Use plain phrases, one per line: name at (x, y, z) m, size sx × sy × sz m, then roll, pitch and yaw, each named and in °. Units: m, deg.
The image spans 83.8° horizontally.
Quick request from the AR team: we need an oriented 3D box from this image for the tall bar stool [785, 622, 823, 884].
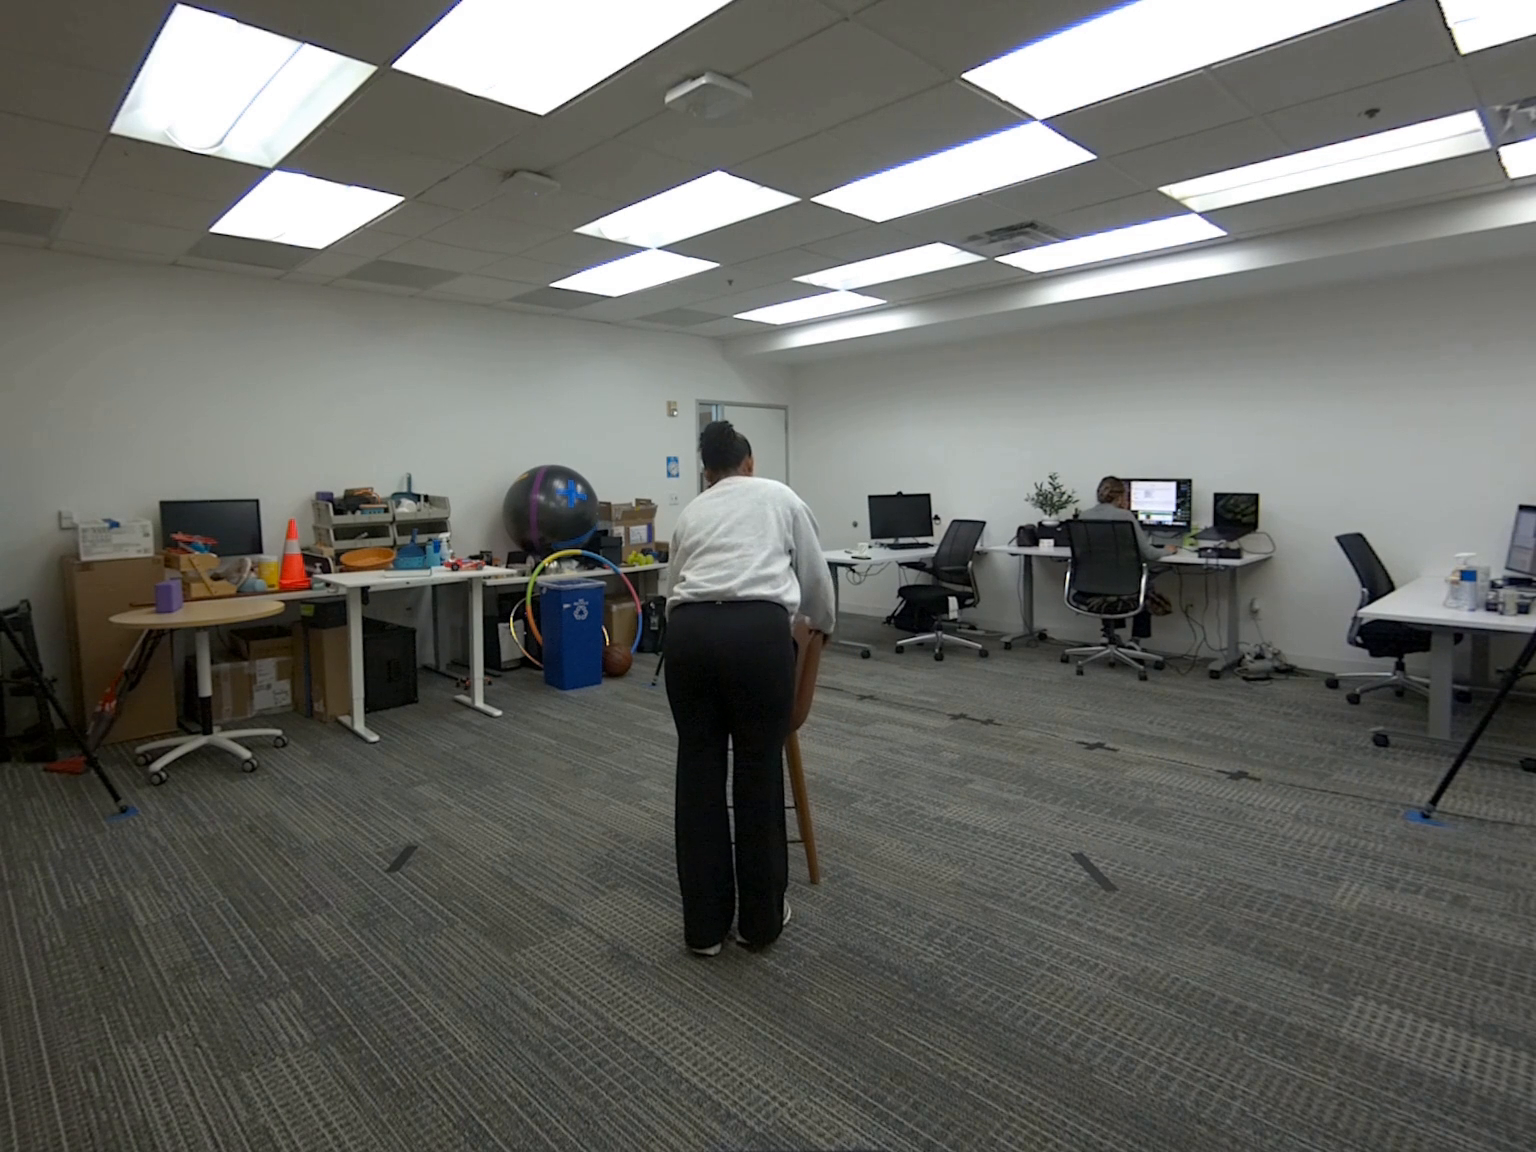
tall bar stool at (-0.048, 0.614, 3.097) m, size 0.467 × 0.887 × 0.458 m, roll 1°, pitch 4°, yaw -1°
